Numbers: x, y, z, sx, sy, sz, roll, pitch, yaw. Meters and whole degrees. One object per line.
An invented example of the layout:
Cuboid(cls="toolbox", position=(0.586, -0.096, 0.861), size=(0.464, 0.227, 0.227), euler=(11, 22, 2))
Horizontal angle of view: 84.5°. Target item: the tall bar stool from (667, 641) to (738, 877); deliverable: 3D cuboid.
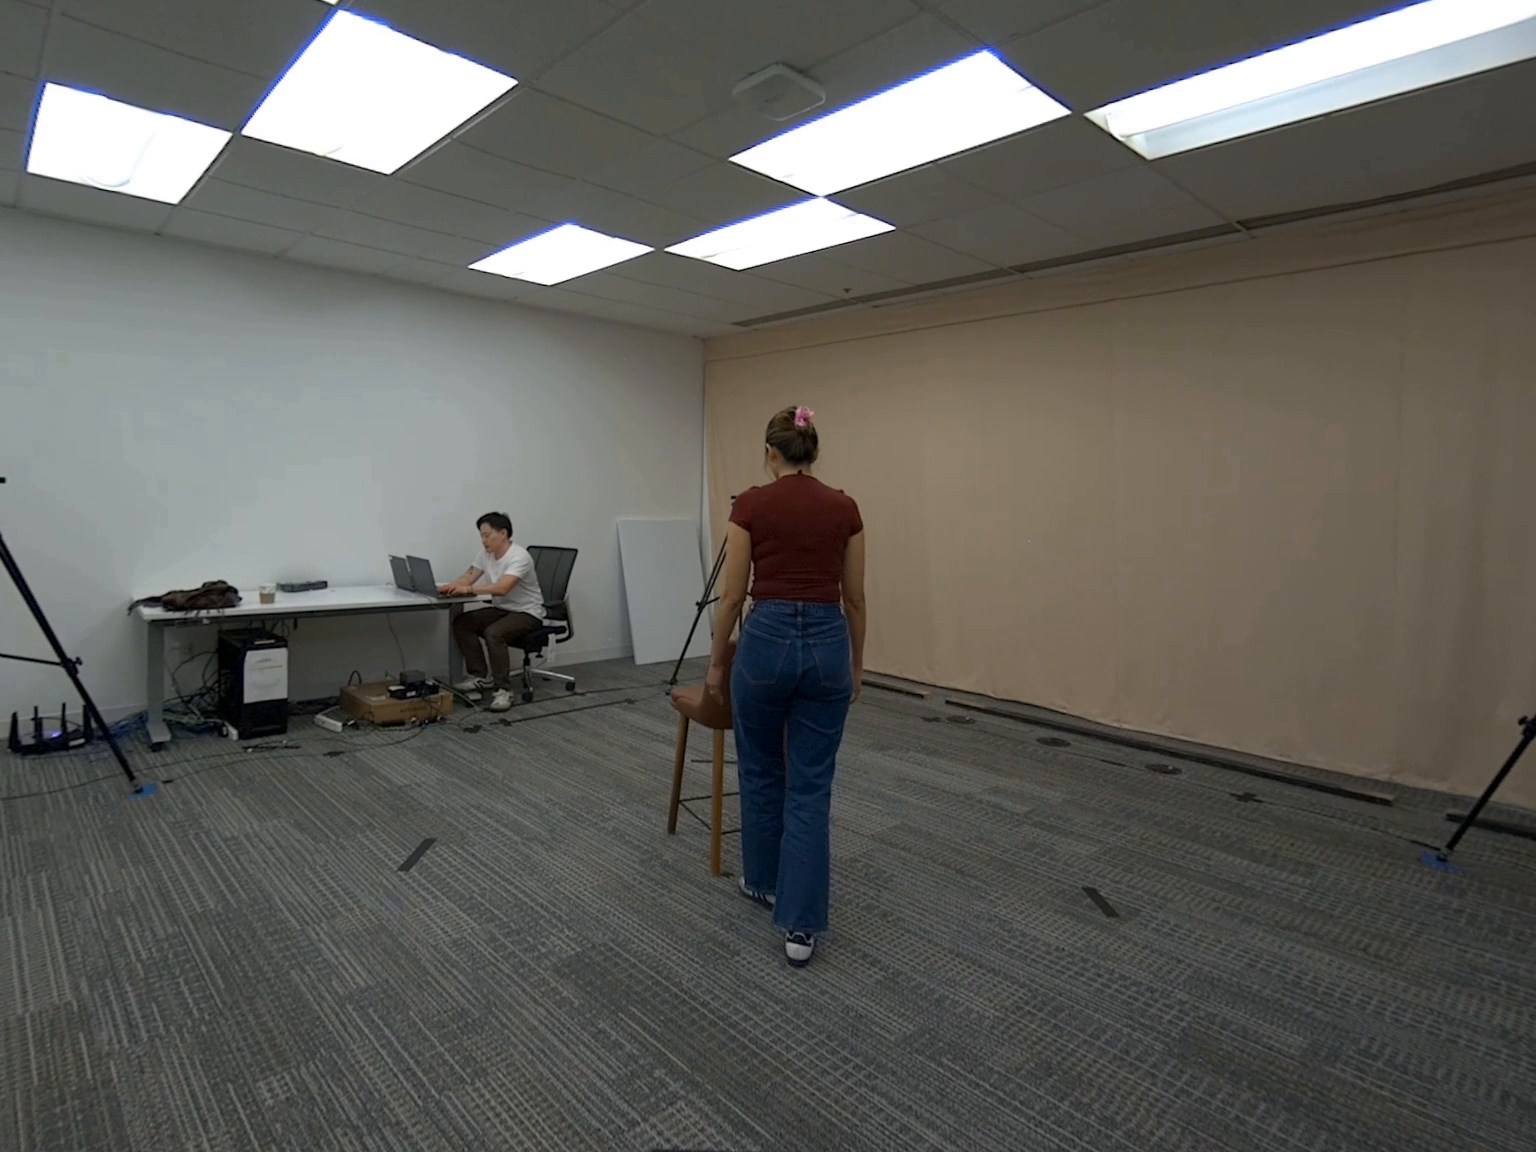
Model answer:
Cuboid(cls="tall bar stool", position=(-0.128, 0.646, 3.331), size=(0.448, 0.886, 0.478), euler=(-1, 6, -26))
